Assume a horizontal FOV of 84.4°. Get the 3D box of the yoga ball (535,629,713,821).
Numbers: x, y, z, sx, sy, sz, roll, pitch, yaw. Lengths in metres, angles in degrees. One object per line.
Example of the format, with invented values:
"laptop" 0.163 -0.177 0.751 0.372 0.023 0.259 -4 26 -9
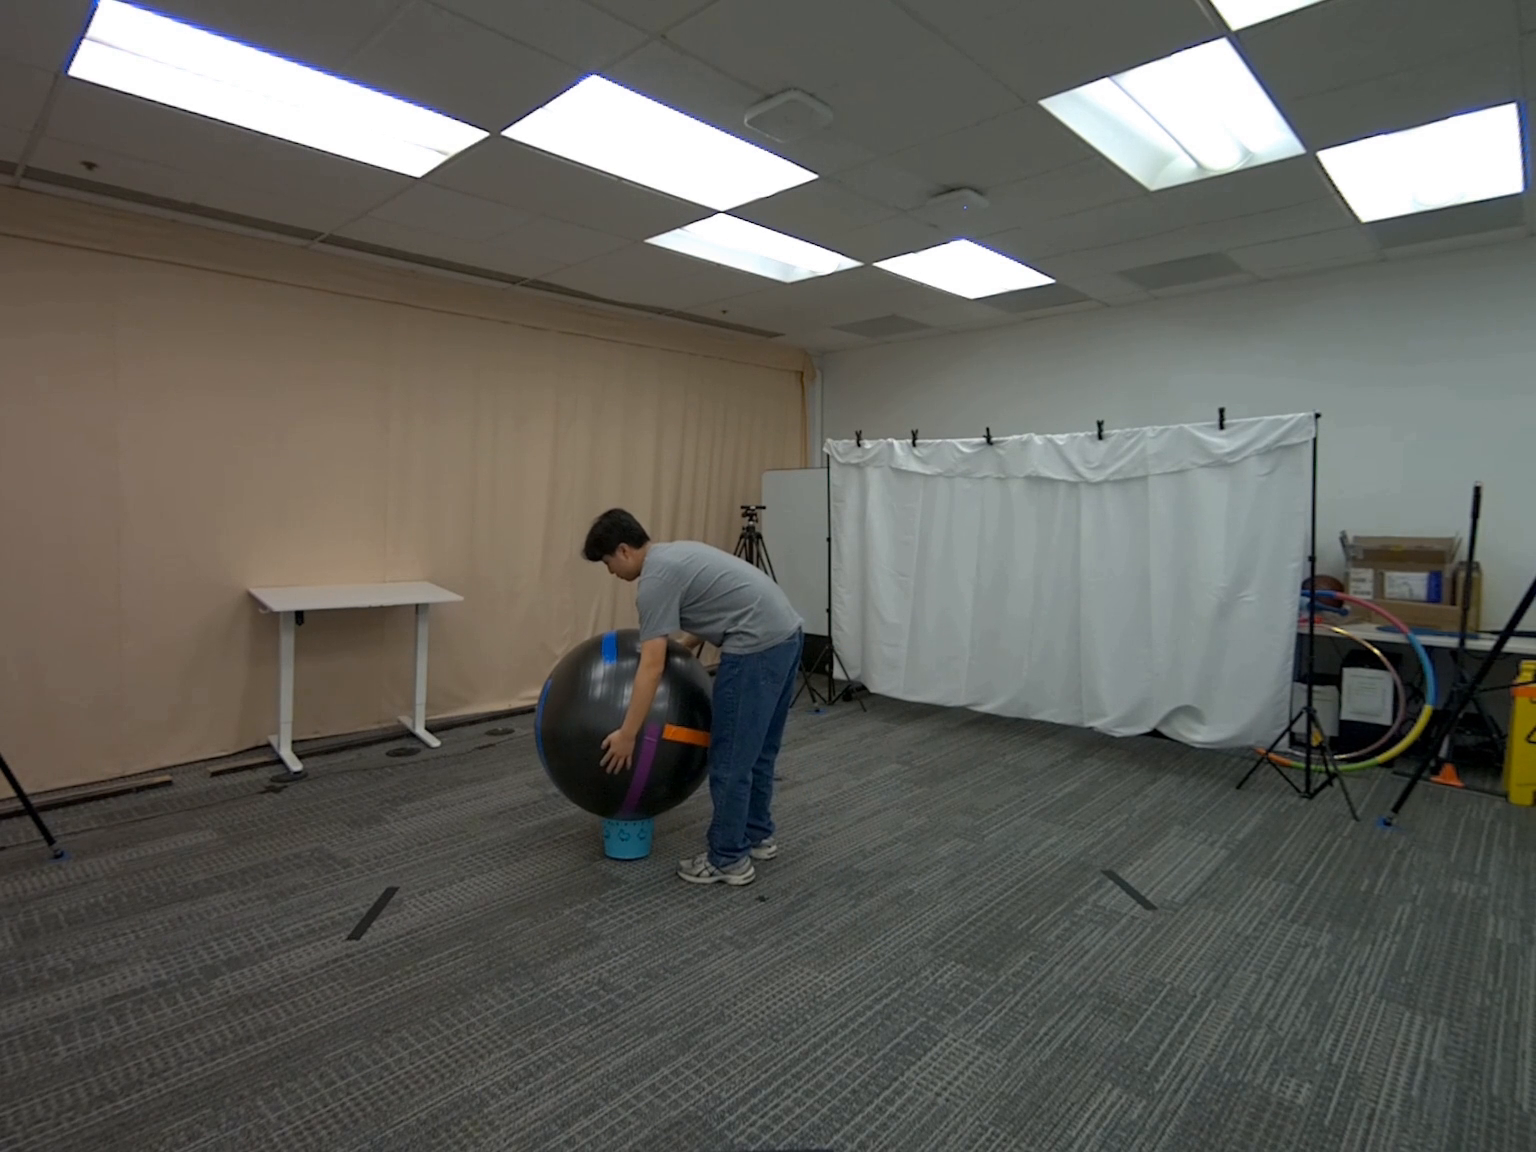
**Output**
"yoga ball" -0.567 0.601 3.430 0.757 0.756 0.761 0 4 -2
